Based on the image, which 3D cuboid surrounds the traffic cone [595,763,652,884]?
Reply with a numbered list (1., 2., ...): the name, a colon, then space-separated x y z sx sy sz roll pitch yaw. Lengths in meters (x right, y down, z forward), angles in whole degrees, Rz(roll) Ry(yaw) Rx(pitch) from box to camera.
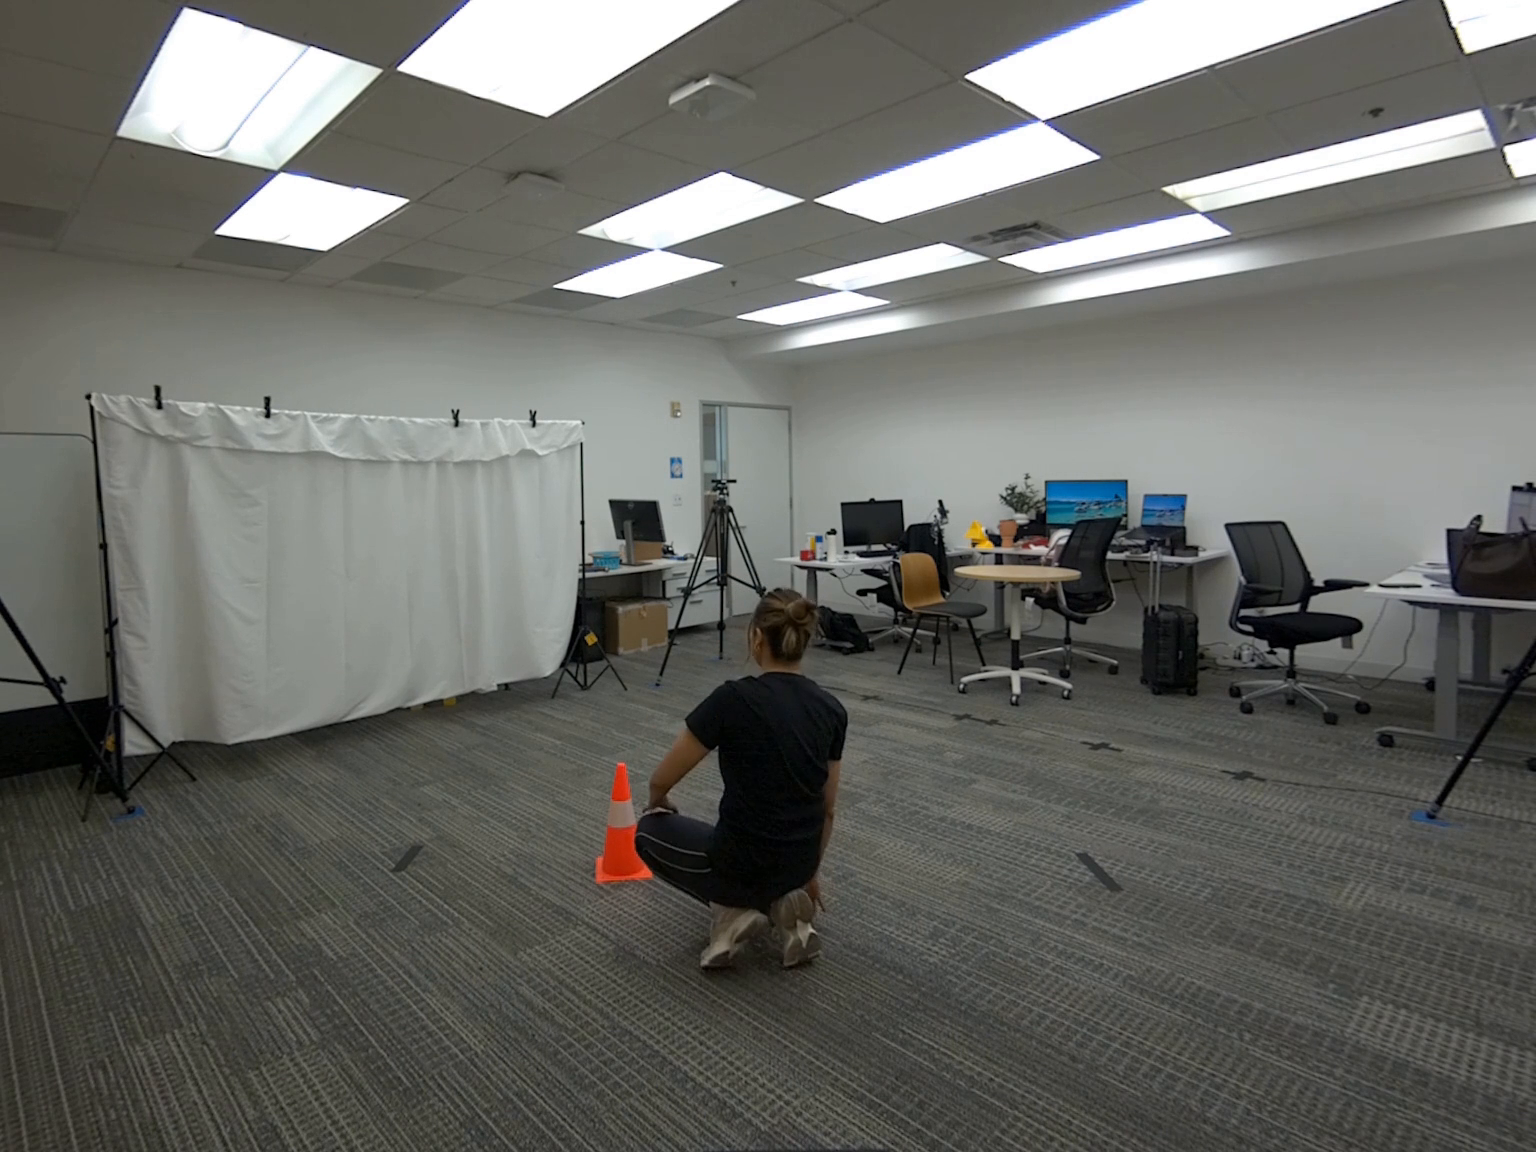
1. traffic cone: -0.529 0.874 3.081 0.202 0.382 0.207 -4 6 -6
